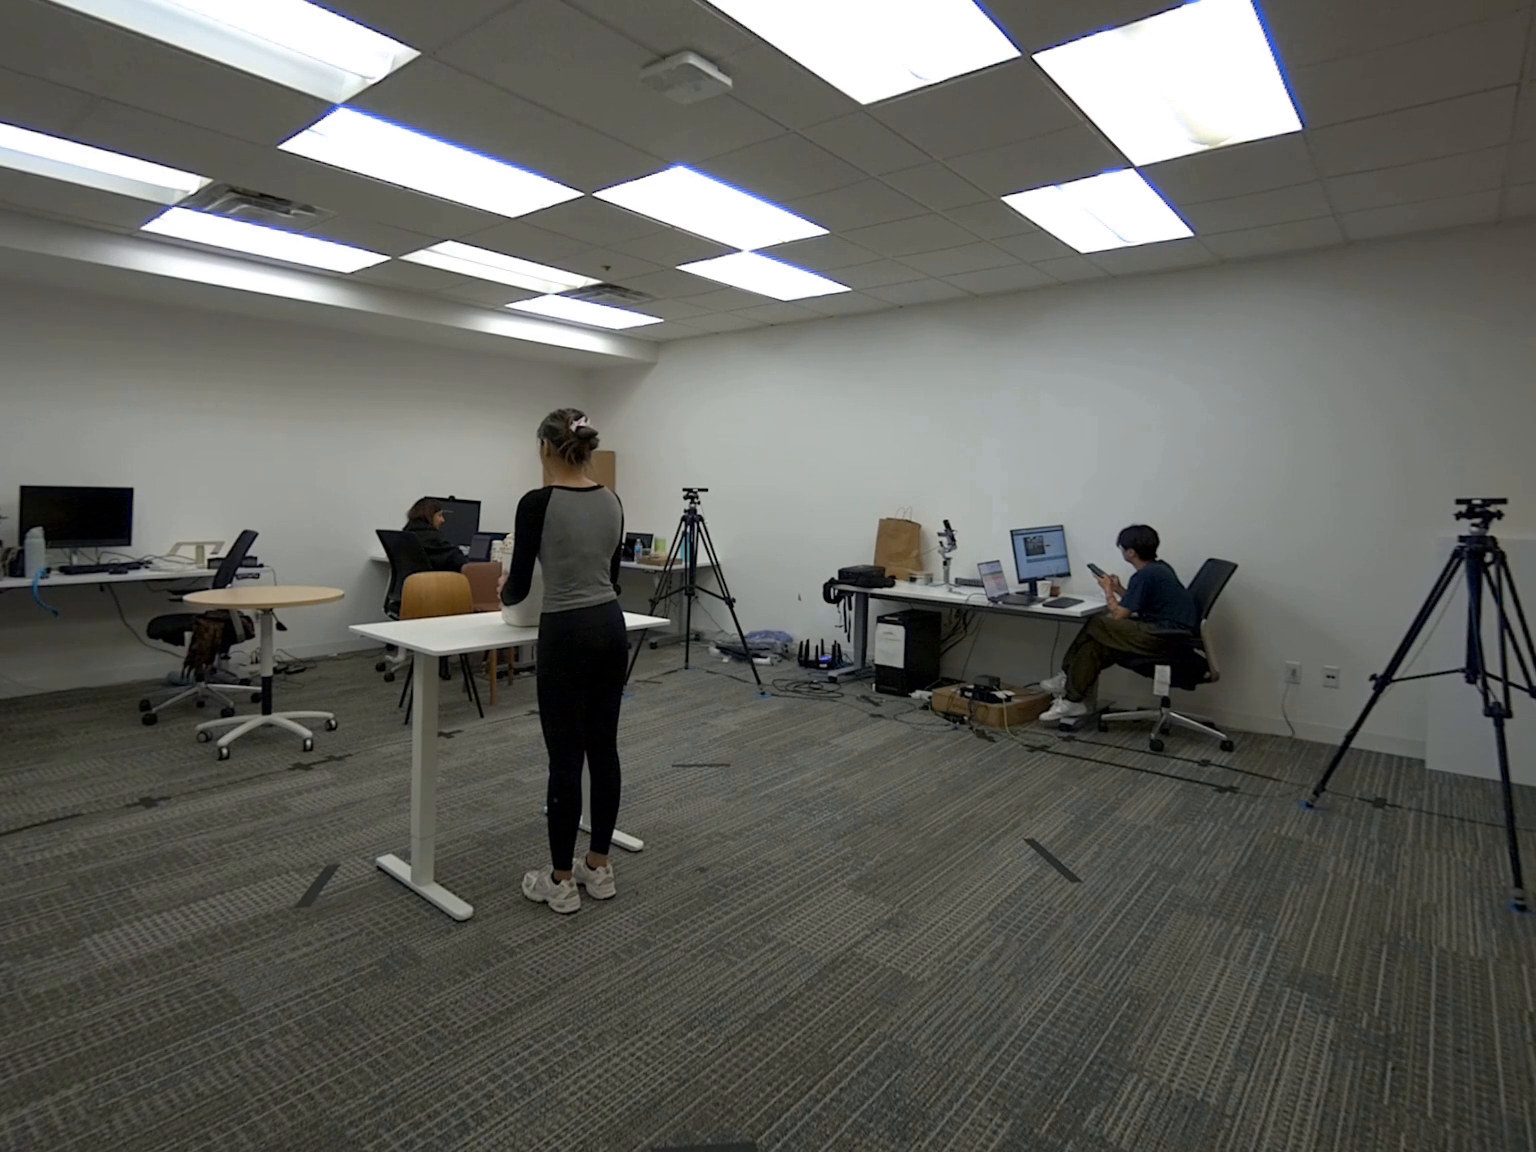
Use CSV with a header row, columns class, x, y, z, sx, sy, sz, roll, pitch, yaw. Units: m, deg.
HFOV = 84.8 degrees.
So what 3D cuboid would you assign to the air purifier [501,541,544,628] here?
class,x,y,z,sx,sy,sz,roll,pitch,yaw
air purifier,-0.889,0.042,3.122,0.166,0.265,0.177,-1,4,-41
